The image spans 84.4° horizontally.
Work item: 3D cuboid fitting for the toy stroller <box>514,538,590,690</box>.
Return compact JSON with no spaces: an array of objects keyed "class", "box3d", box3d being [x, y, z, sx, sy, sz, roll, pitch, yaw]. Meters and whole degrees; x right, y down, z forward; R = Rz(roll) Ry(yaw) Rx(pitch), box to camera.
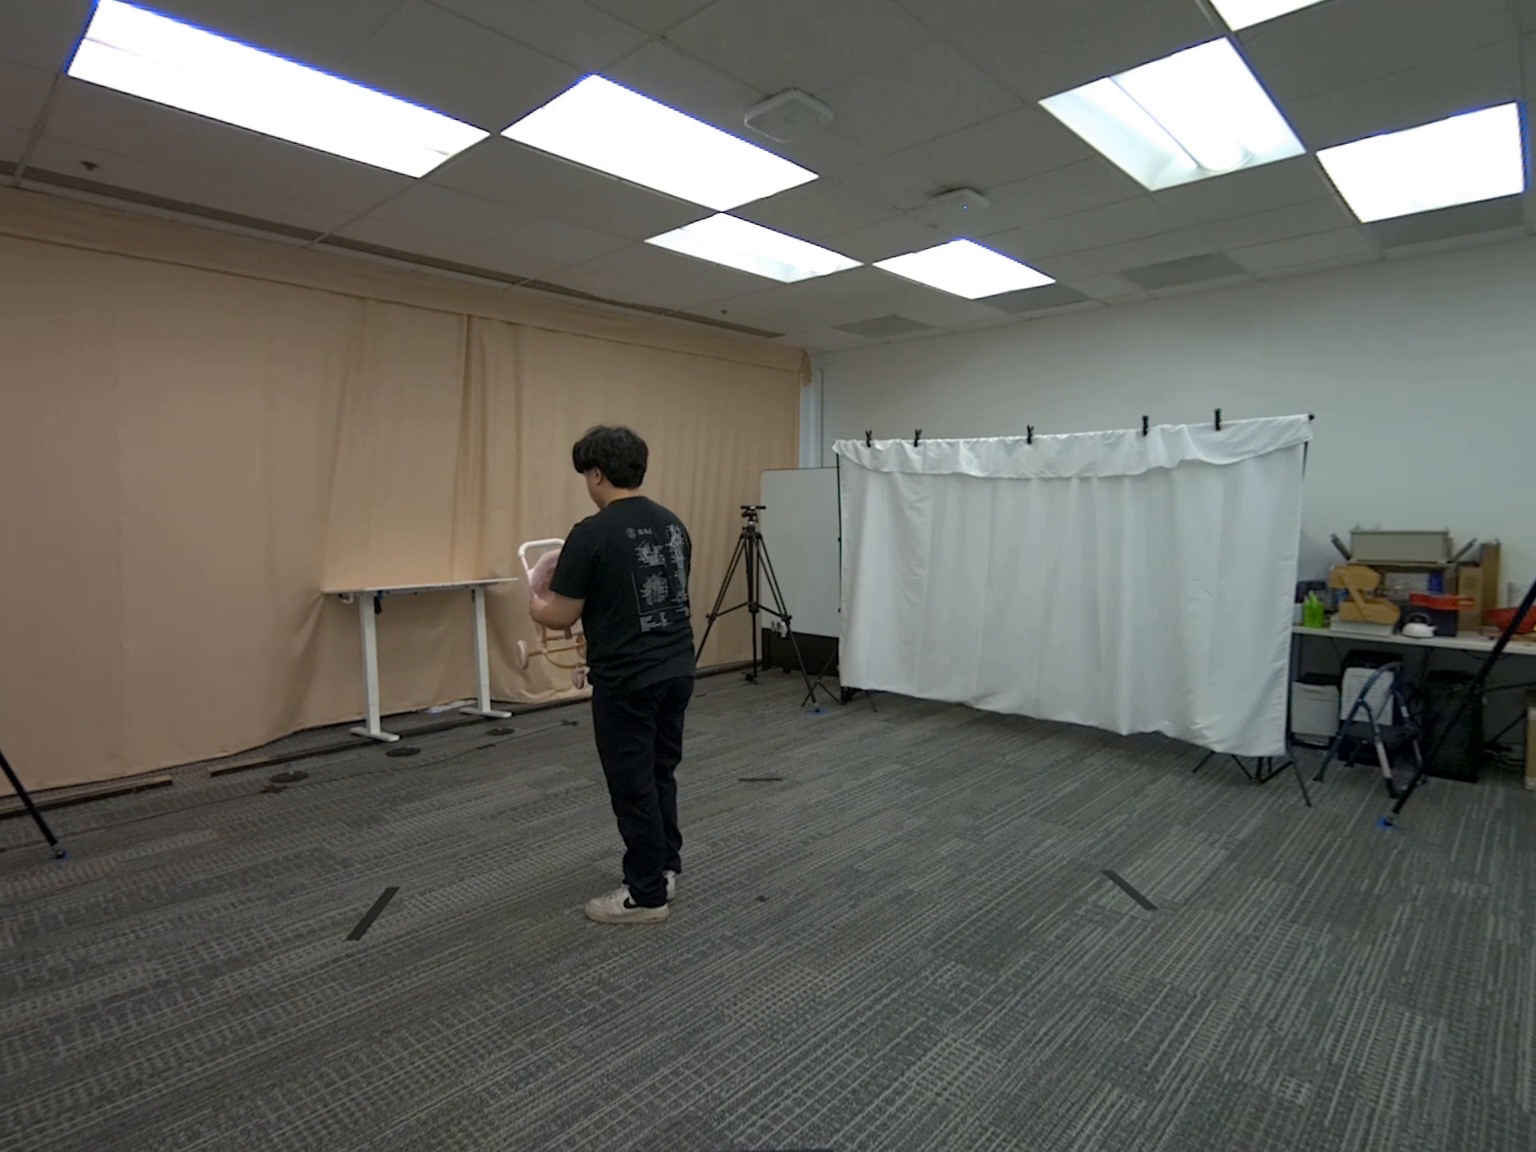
[{"class":"toy stroller","box3d":[-0.773,0.138,3.121,0.274,0.534,0.351,-5,4,-28]}]
